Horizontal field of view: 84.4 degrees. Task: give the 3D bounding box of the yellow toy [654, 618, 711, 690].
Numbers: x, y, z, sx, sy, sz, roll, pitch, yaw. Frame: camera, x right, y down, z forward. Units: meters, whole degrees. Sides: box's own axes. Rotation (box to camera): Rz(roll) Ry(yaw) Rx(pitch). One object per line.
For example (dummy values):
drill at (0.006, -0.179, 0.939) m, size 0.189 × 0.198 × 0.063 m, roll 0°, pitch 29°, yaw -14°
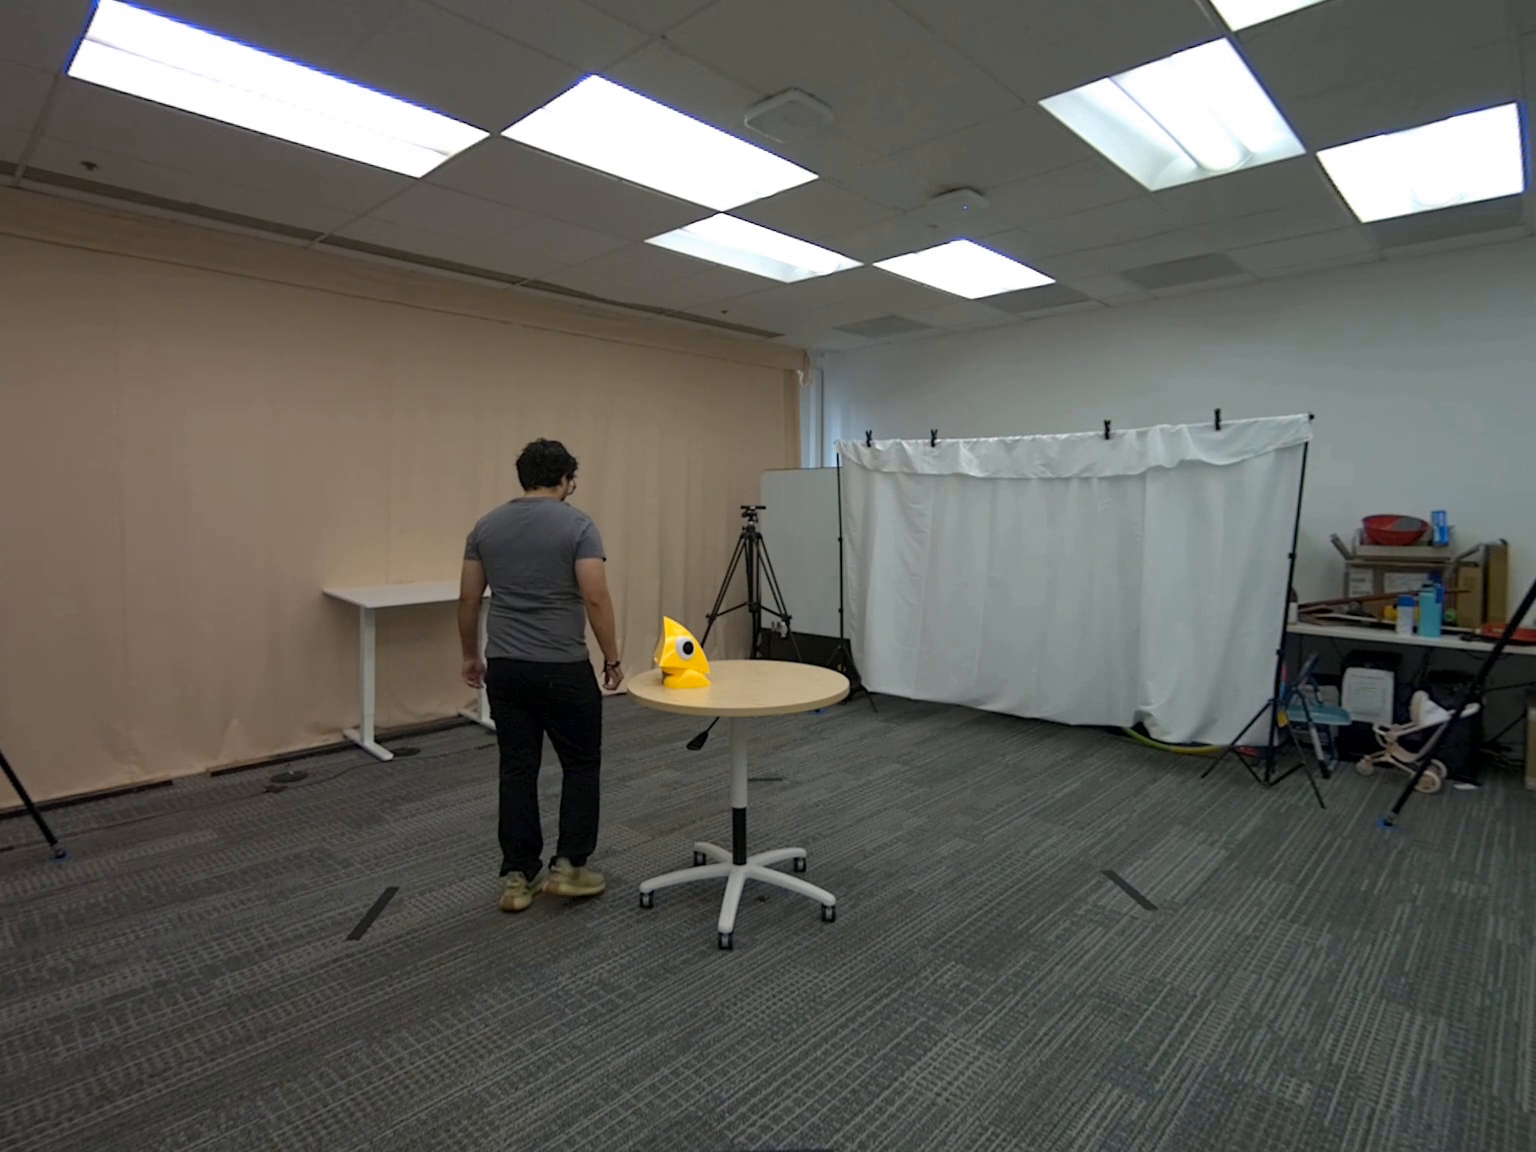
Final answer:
yellow toy at (-0.294, 0.256, 2.909) m, size 0.191 × 0.230 × 0.207 m, roll -1°, pitch 4°, yaw -11°
